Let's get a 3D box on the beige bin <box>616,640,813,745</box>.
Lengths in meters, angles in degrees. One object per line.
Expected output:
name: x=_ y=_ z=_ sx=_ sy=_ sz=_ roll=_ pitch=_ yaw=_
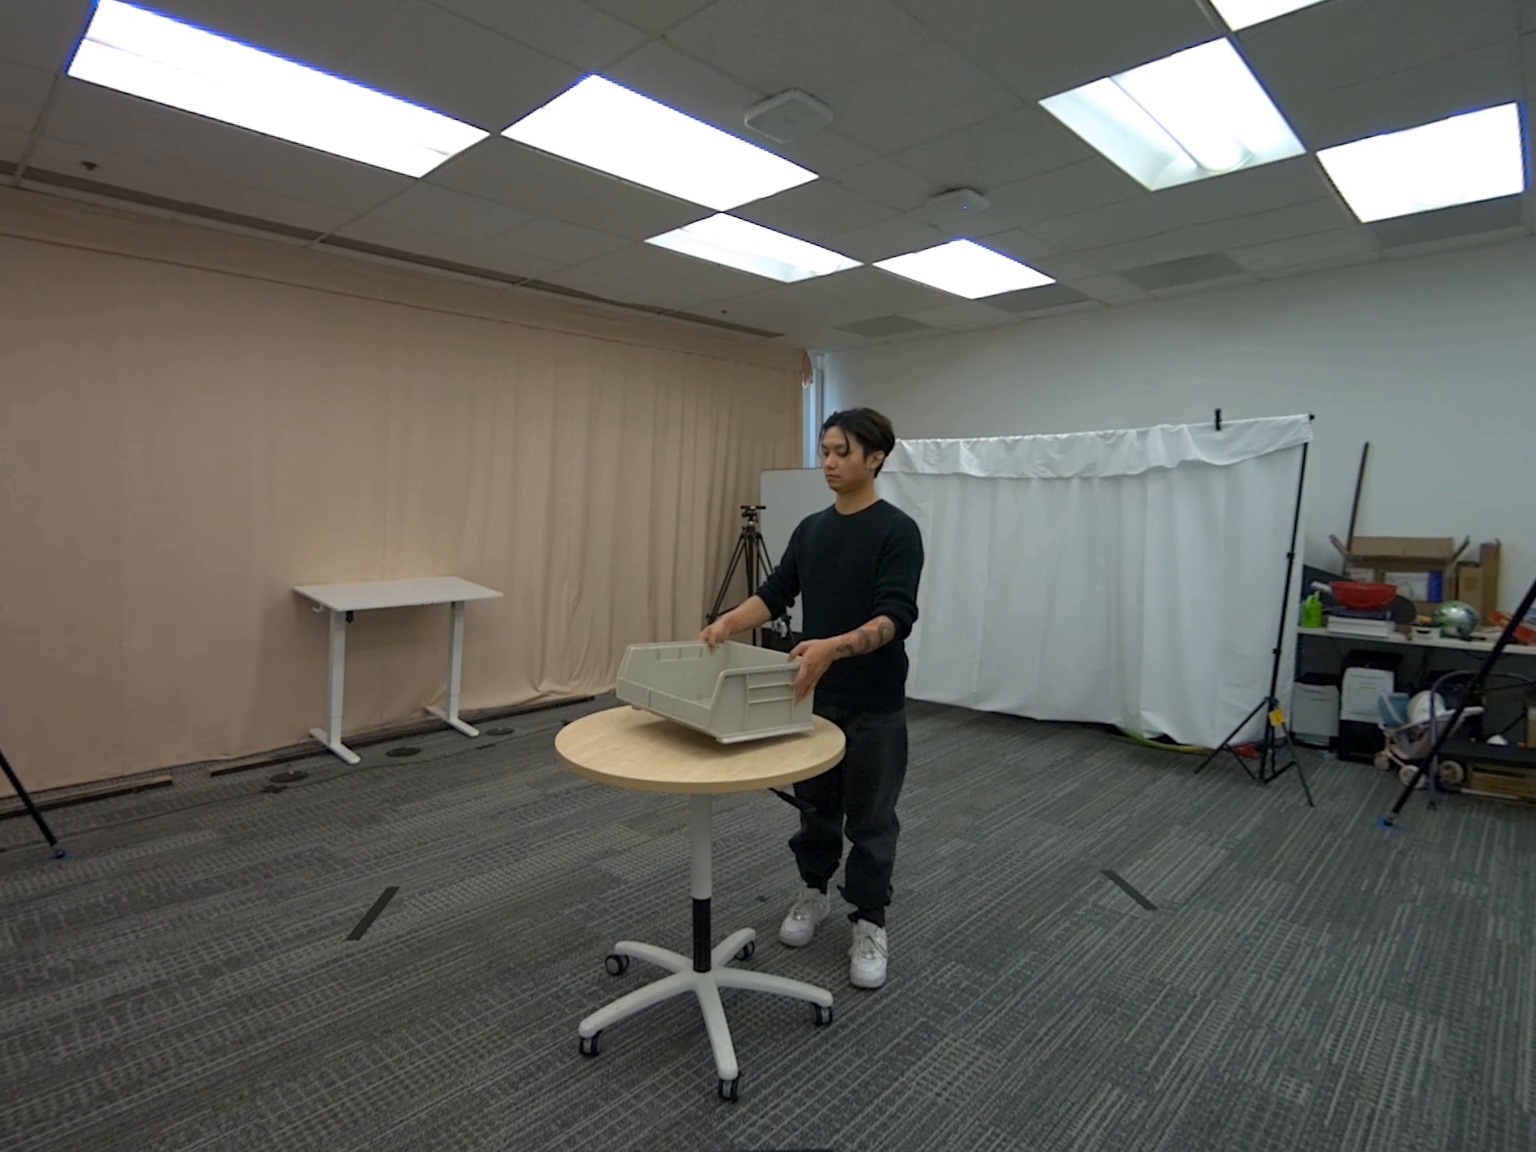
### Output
beige bin: x=-0.137 y=0.299 z=2.268 sx=0.365 sy=0.189 sz=0.436 roll=3 pitch=2 yaw=-41
